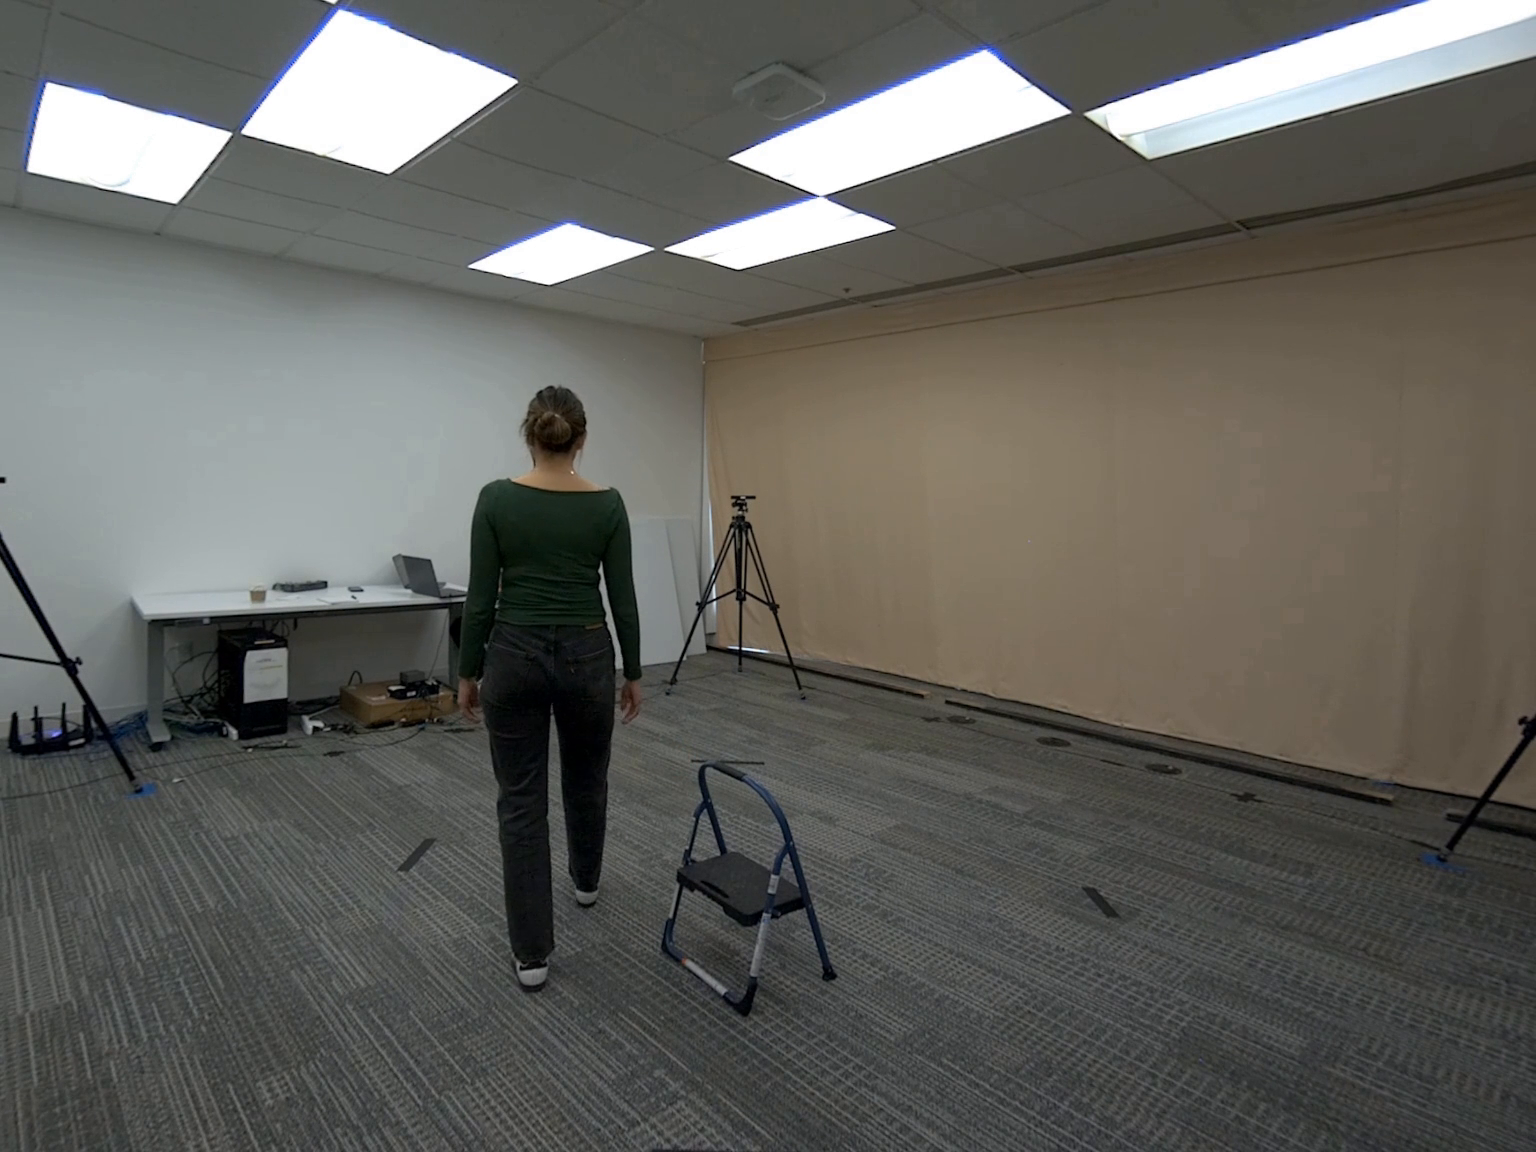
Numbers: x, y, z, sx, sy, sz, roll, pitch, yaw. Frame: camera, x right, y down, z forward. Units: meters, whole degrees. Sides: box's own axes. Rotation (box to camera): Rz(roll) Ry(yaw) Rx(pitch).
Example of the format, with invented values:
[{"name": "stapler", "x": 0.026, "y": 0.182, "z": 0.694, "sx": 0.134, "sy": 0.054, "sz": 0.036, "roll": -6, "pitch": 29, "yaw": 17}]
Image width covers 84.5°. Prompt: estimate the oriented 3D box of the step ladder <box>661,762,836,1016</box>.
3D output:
[{"name": "step ladder", "x": -0.063, "y": 0.860, "z": 2.499, "sx": 0.341, "sy": 0.604, "sz": 0.441, "roll": -2, "pitch": 5, "yaw": -40}]
